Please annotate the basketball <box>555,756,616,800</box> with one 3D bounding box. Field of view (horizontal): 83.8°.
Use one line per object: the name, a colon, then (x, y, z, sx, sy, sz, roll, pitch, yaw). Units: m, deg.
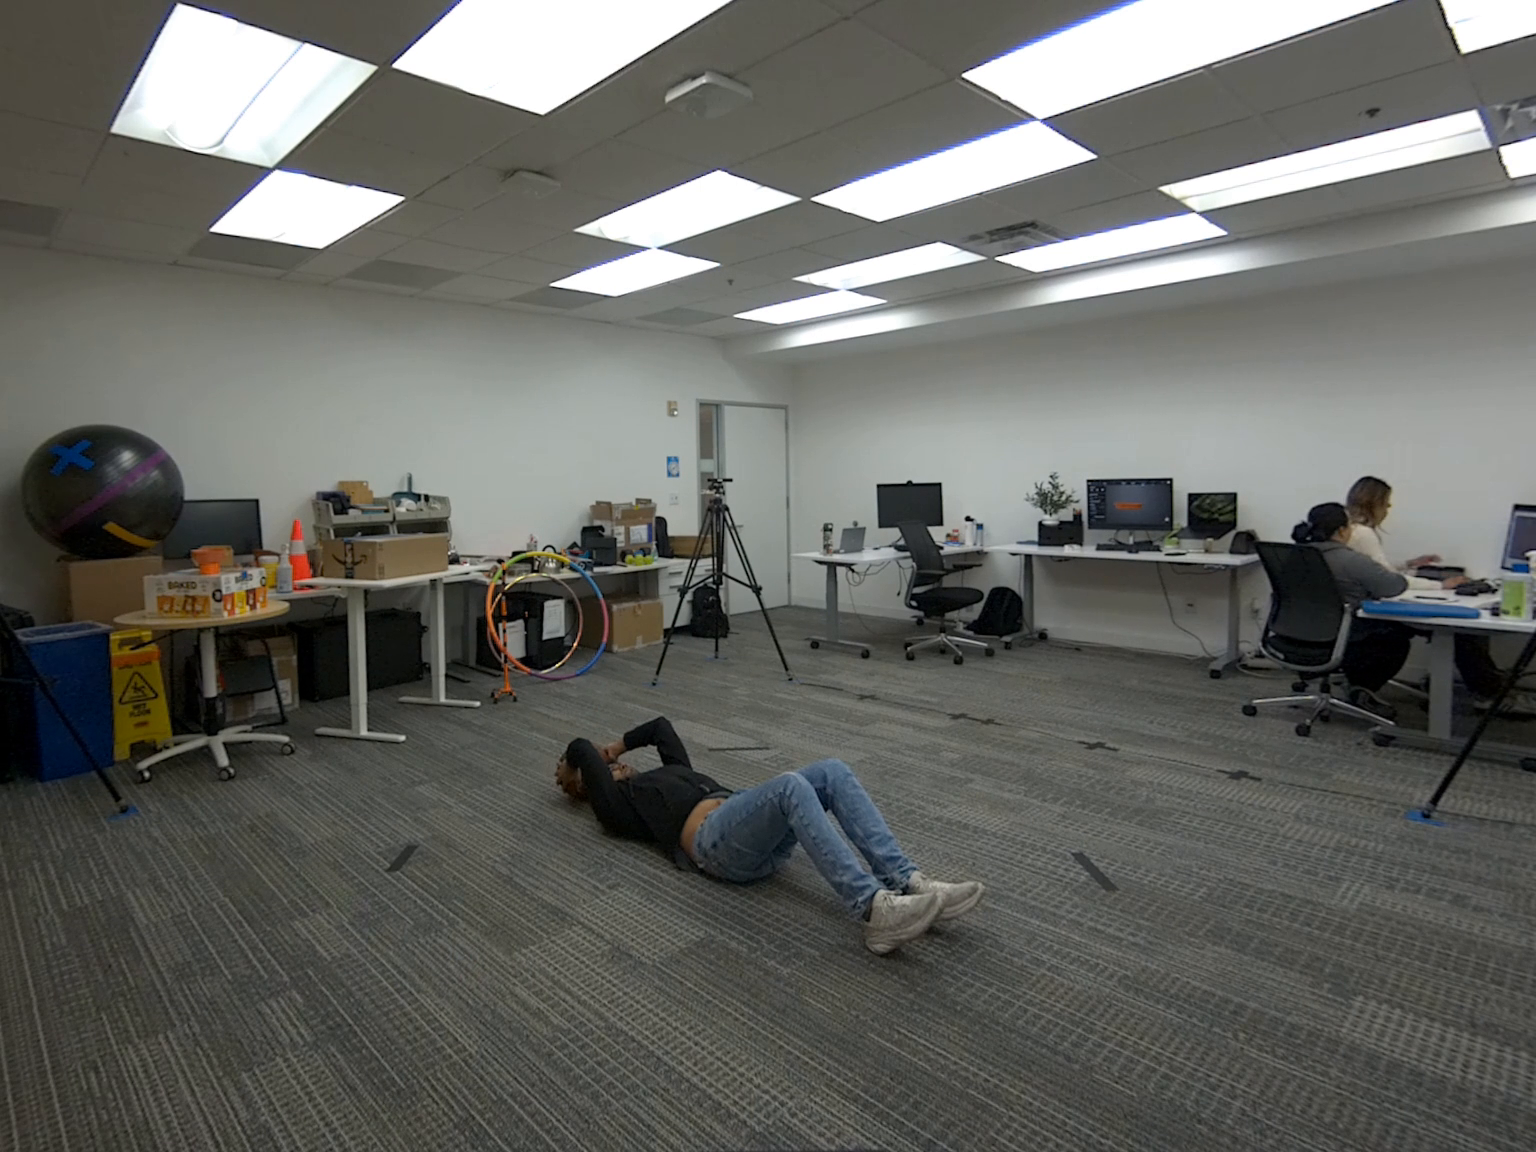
basketball: (-0.812, 0.861, 3.797, 0.236, 0.235, 0.237, -1, 5, -2)
